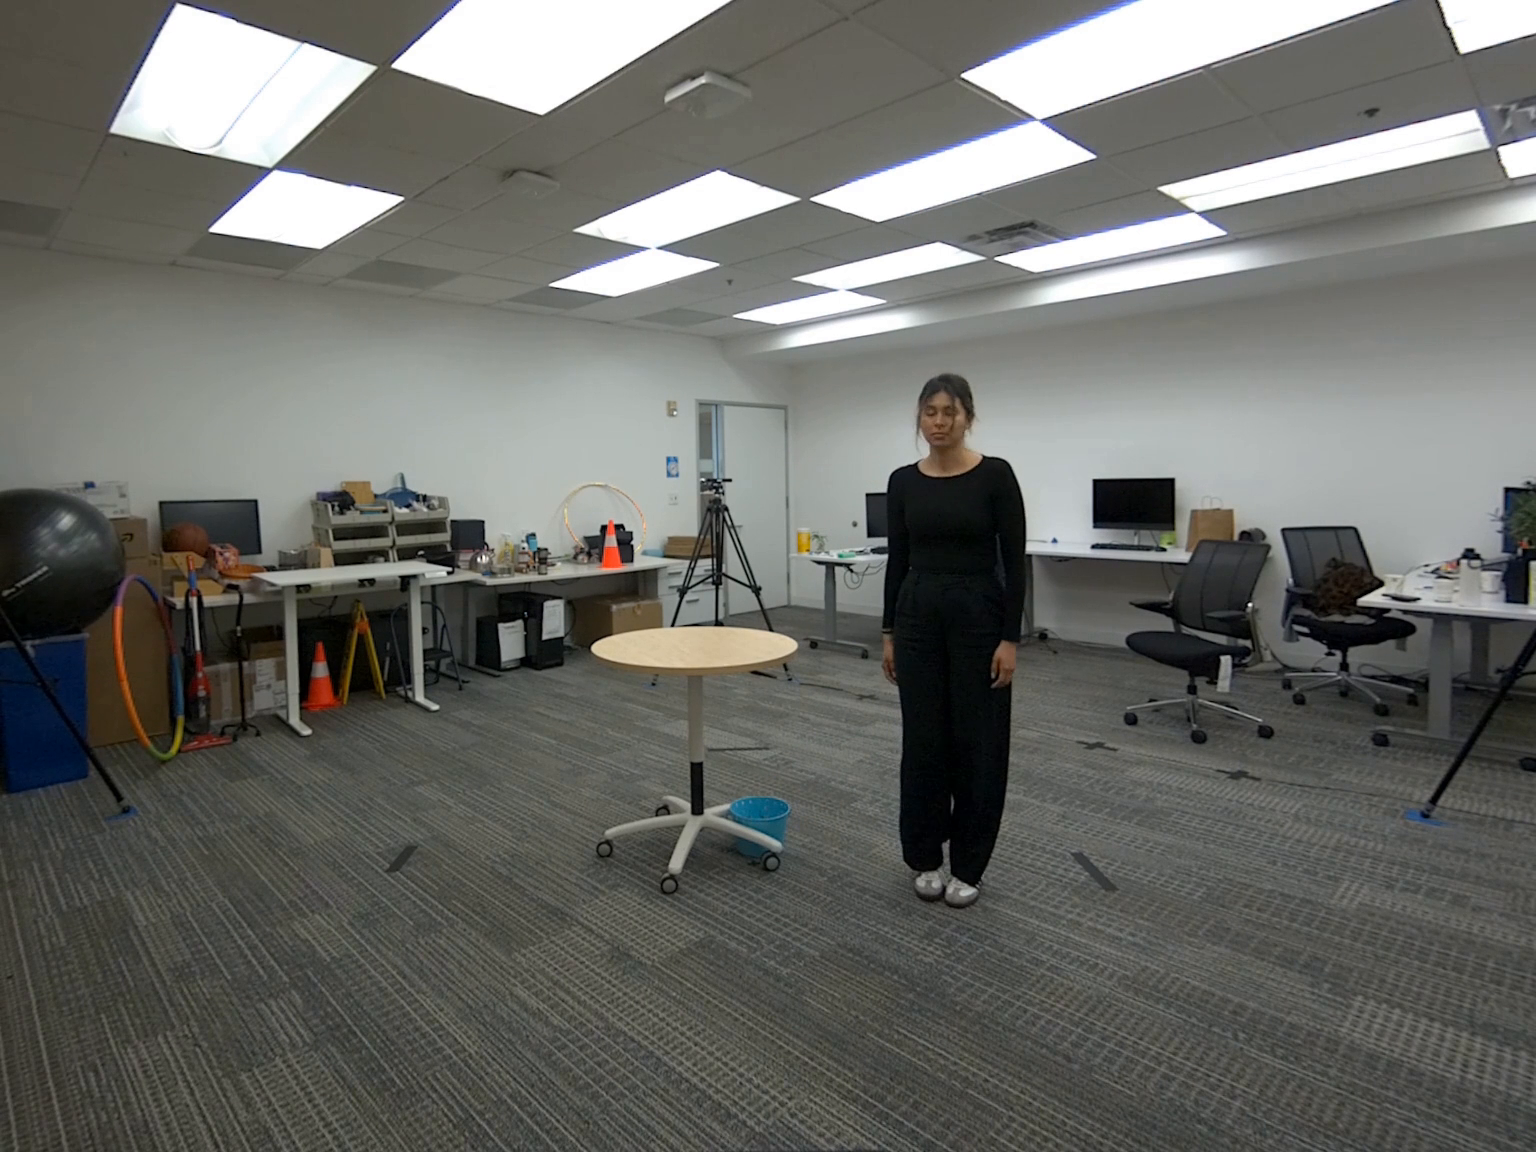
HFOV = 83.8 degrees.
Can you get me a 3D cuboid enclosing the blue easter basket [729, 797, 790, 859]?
[{"bbox_3d":[-0.030,0.952,3.248,0.243,0.155,0.245,0,5,-2],"label":"blue easter basket"}]
